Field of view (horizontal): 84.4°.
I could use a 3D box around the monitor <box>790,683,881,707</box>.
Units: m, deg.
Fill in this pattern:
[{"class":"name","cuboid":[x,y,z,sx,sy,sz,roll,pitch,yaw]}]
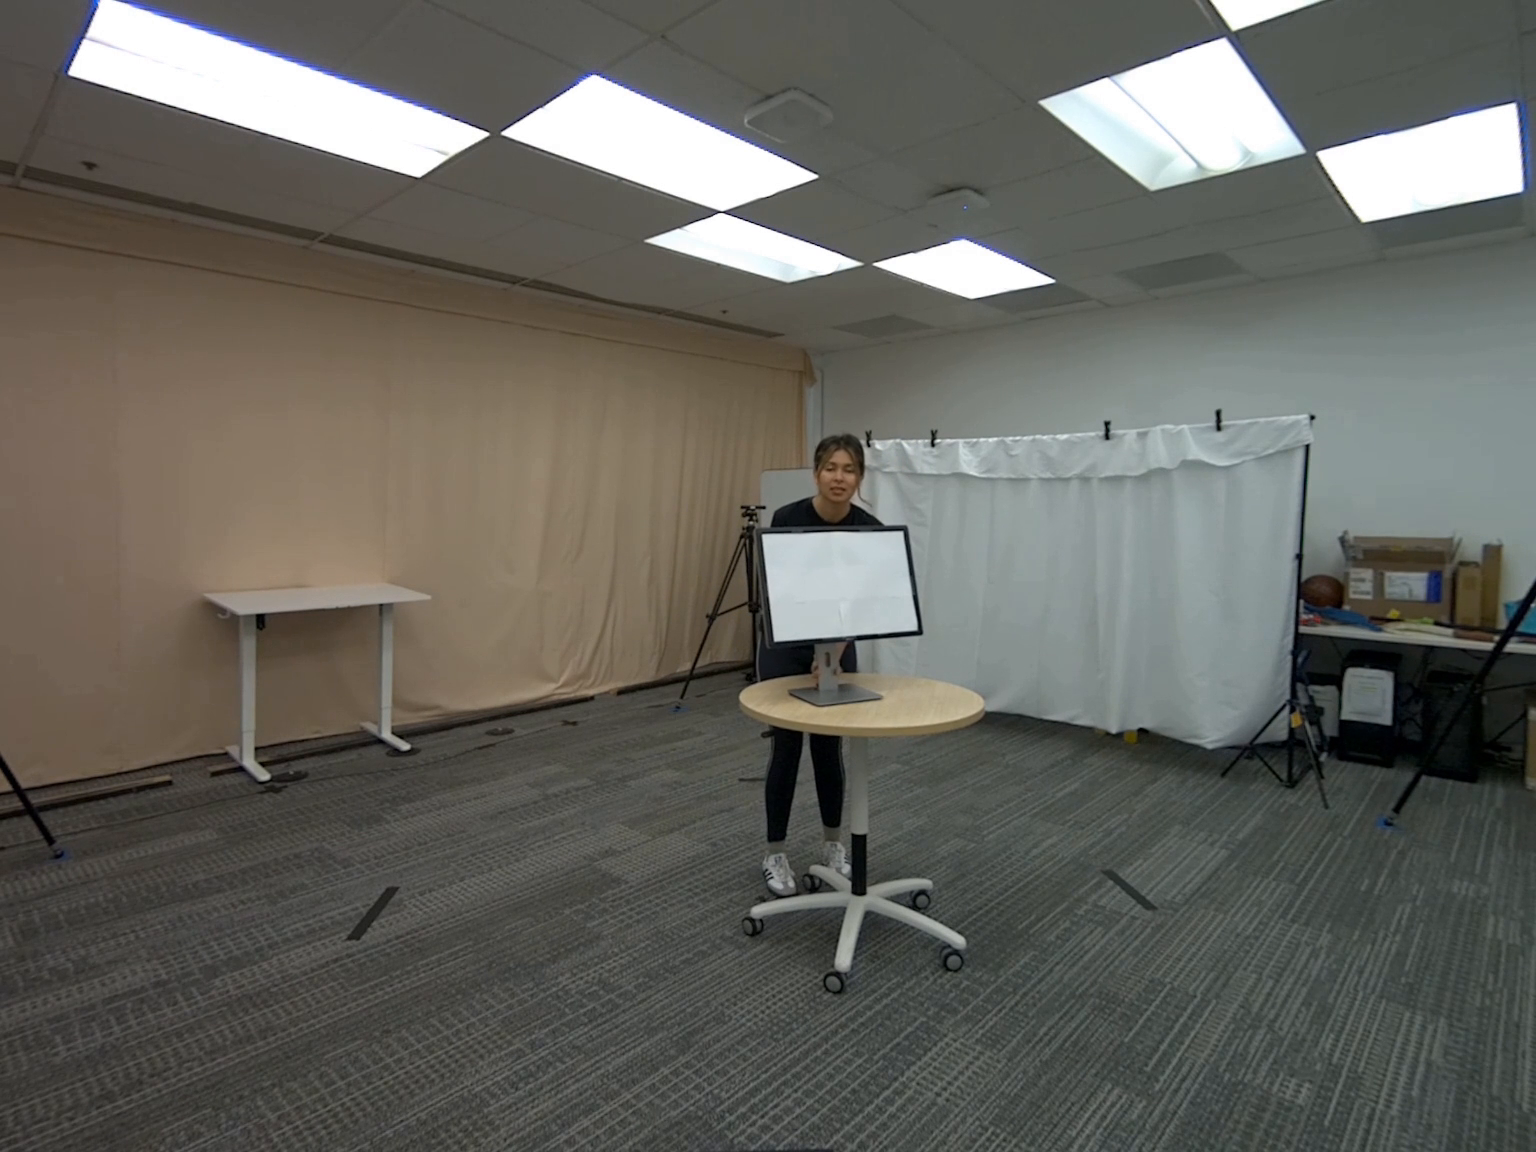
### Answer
[{"class":"monitor","cuboid":[0.218,0.119,2.669,0.525,0.522,0.192,-3,3,-28]}]
